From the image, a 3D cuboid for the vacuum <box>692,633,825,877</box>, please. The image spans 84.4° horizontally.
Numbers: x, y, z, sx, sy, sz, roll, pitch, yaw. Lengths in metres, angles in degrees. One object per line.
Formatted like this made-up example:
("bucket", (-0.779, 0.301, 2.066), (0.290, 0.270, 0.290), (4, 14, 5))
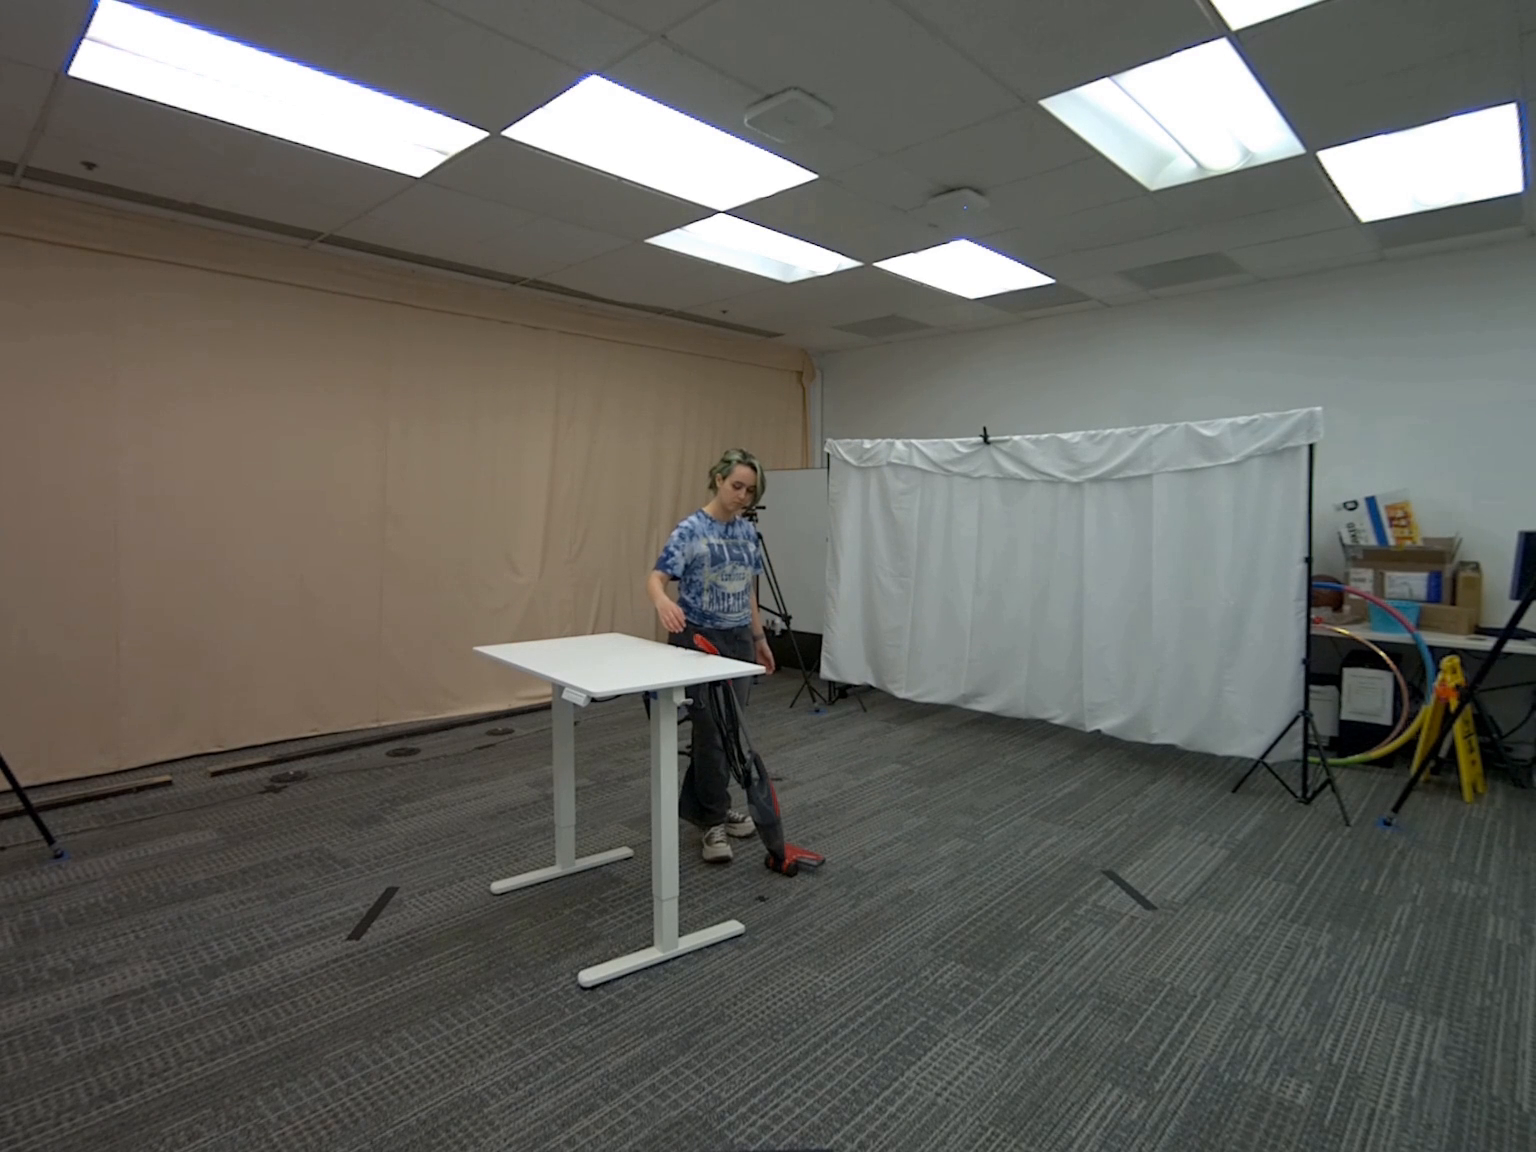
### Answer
("vacuum", (-0.079, 0.663, 3.047), (0.260, 1.029, 0.142), (-1, 28, 40))
